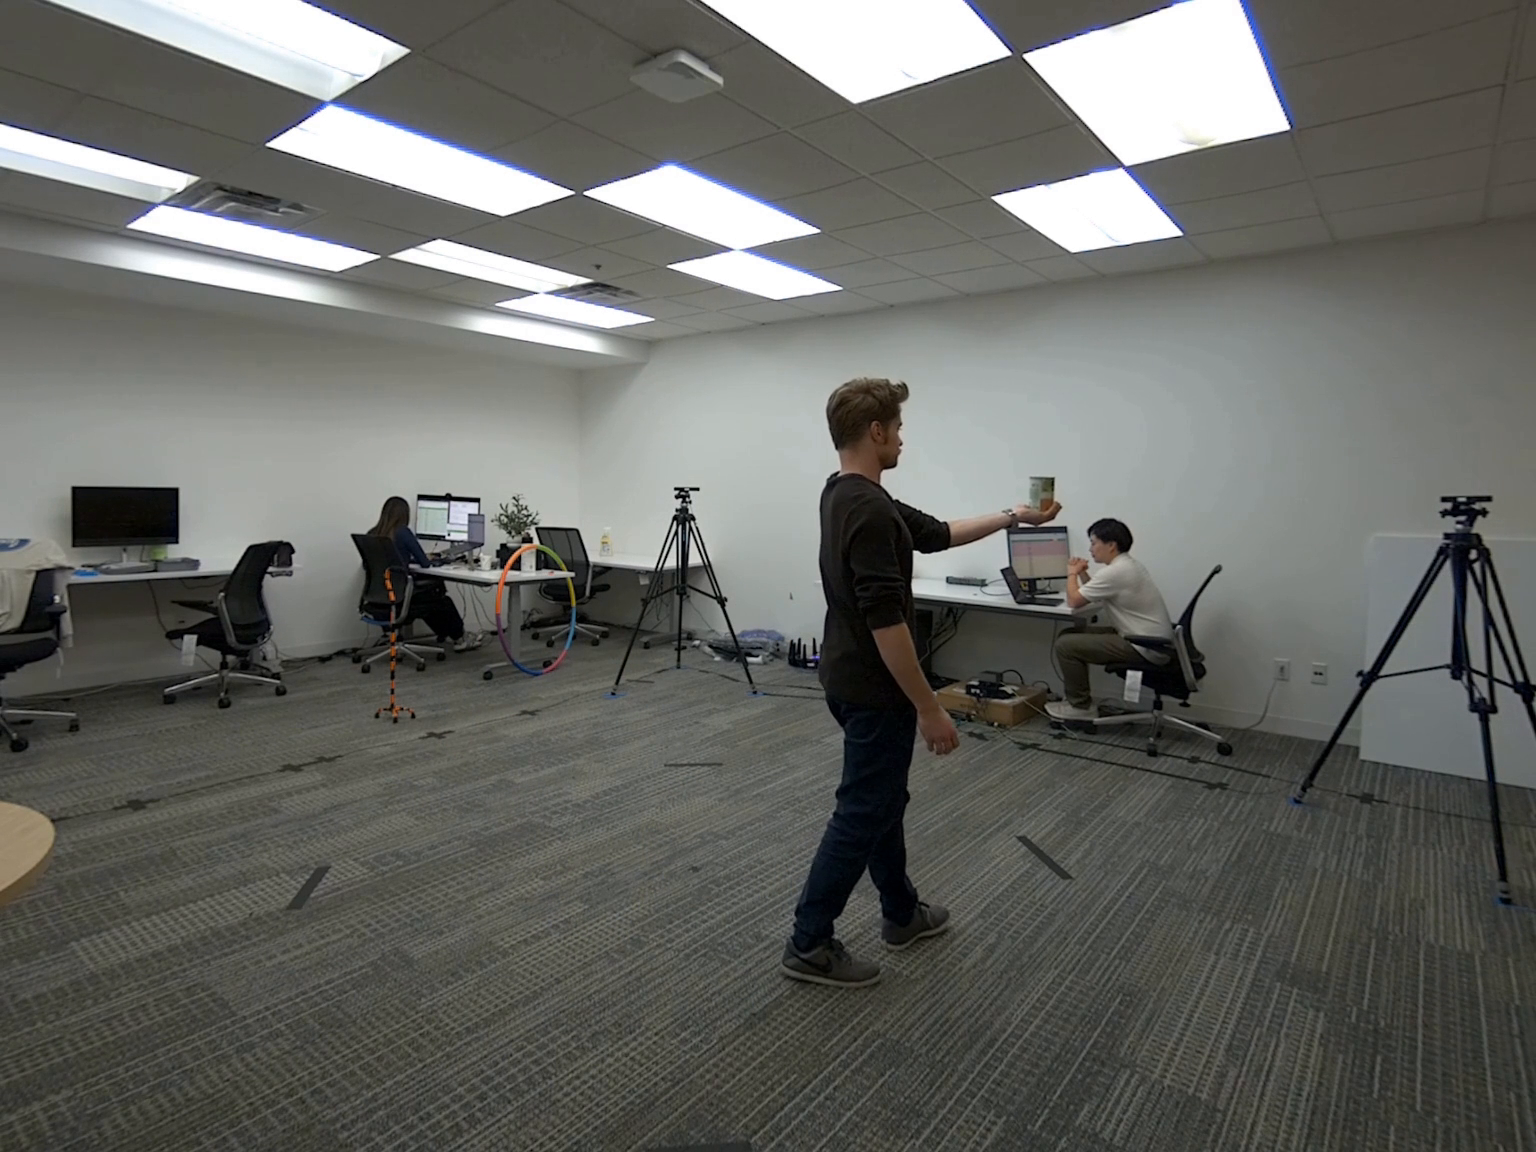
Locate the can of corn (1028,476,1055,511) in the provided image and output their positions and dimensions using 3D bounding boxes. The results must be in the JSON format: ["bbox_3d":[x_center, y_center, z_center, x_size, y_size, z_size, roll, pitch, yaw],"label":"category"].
[{"bbox_3d":[0.857,-0.257,2.672,0.074,0.110,0.075,-2,6,-2],"label":"can of corn"}]
